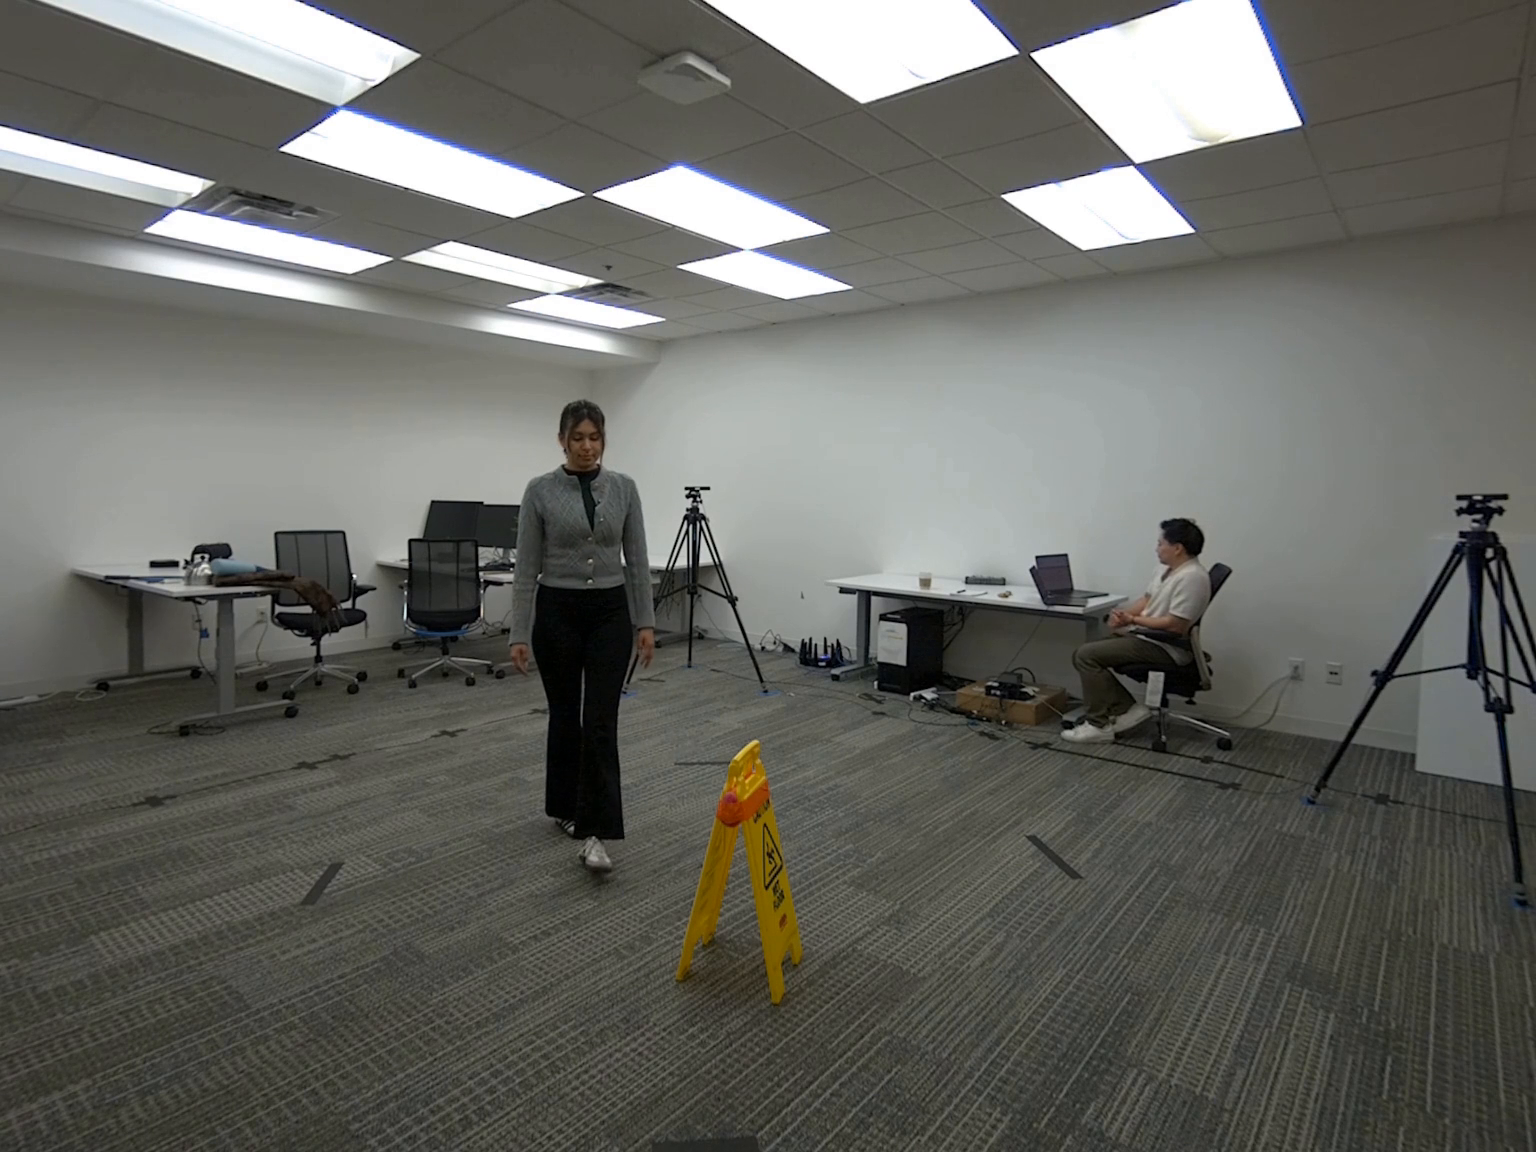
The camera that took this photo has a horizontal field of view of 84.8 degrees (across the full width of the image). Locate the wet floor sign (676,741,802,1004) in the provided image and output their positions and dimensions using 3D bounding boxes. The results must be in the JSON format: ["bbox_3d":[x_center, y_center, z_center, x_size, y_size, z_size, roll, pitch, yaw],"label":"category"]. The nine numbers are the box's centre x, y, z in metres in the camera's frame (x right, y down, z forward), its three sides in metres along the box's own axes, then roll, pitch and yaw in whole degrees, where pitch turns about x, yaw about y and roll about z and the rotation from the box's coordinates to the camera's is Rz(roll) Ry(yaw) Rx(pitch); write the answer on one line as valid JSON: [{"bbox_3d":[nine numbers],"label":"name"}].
[{"bbox_3d":[-0.074,0.811,2.447,0.296,0.644,0.277,3,4,18],"label":"wet floor sign"}]
